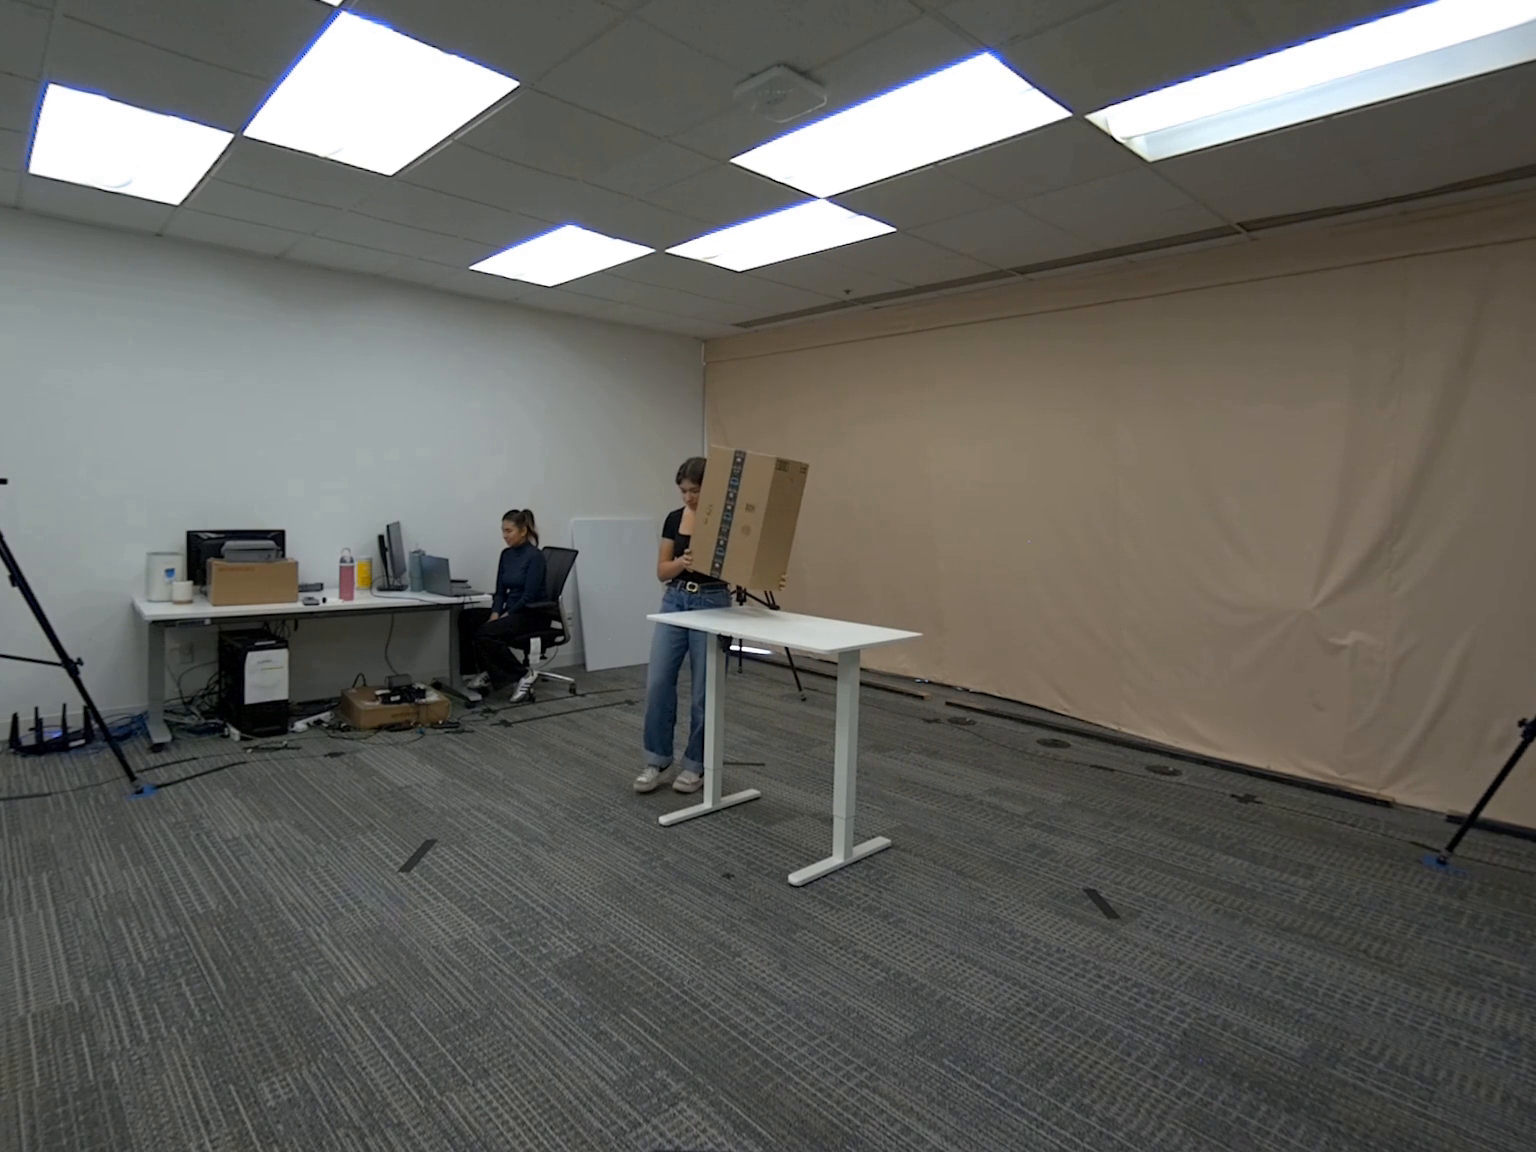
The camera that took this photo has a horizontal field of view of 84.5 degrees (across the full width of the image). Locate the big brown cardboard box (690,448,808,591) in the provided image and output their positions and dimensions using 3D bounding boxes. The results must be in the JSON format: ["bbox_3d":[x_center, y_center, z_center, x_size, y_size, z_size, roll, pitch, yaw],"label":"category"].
[{"bbox_3d":[-0.105,-0.256,3.695,0.430,0.586,0.227,18,9,43],"label":"big brown cardboard box"}]
